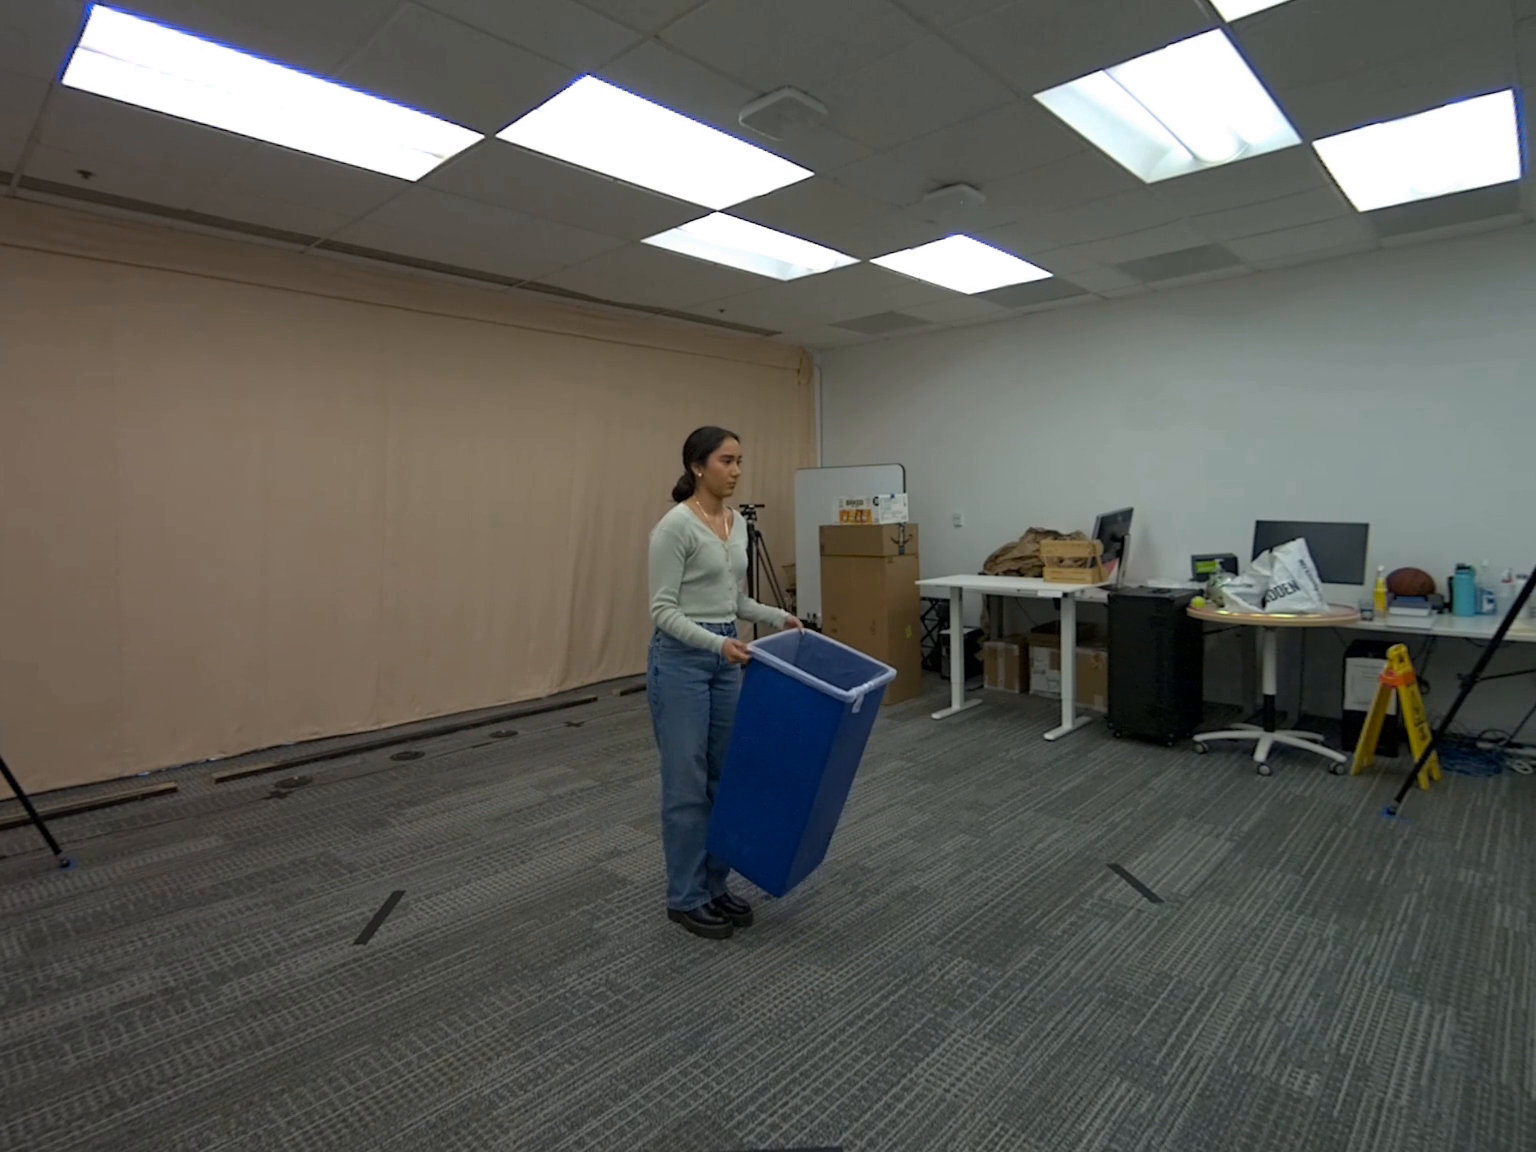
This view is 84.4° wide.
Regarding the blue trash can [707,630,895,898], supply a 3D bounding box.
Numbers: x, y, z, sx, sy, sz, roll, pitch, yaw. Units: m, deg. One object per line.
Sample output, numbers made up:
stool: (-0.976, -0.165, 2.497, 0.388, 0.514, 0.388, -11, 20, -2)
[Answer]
blue trash can: (0.078, 0.584, 2.654, 0.386, 0.710, 0.368, 24, 17, 28)
